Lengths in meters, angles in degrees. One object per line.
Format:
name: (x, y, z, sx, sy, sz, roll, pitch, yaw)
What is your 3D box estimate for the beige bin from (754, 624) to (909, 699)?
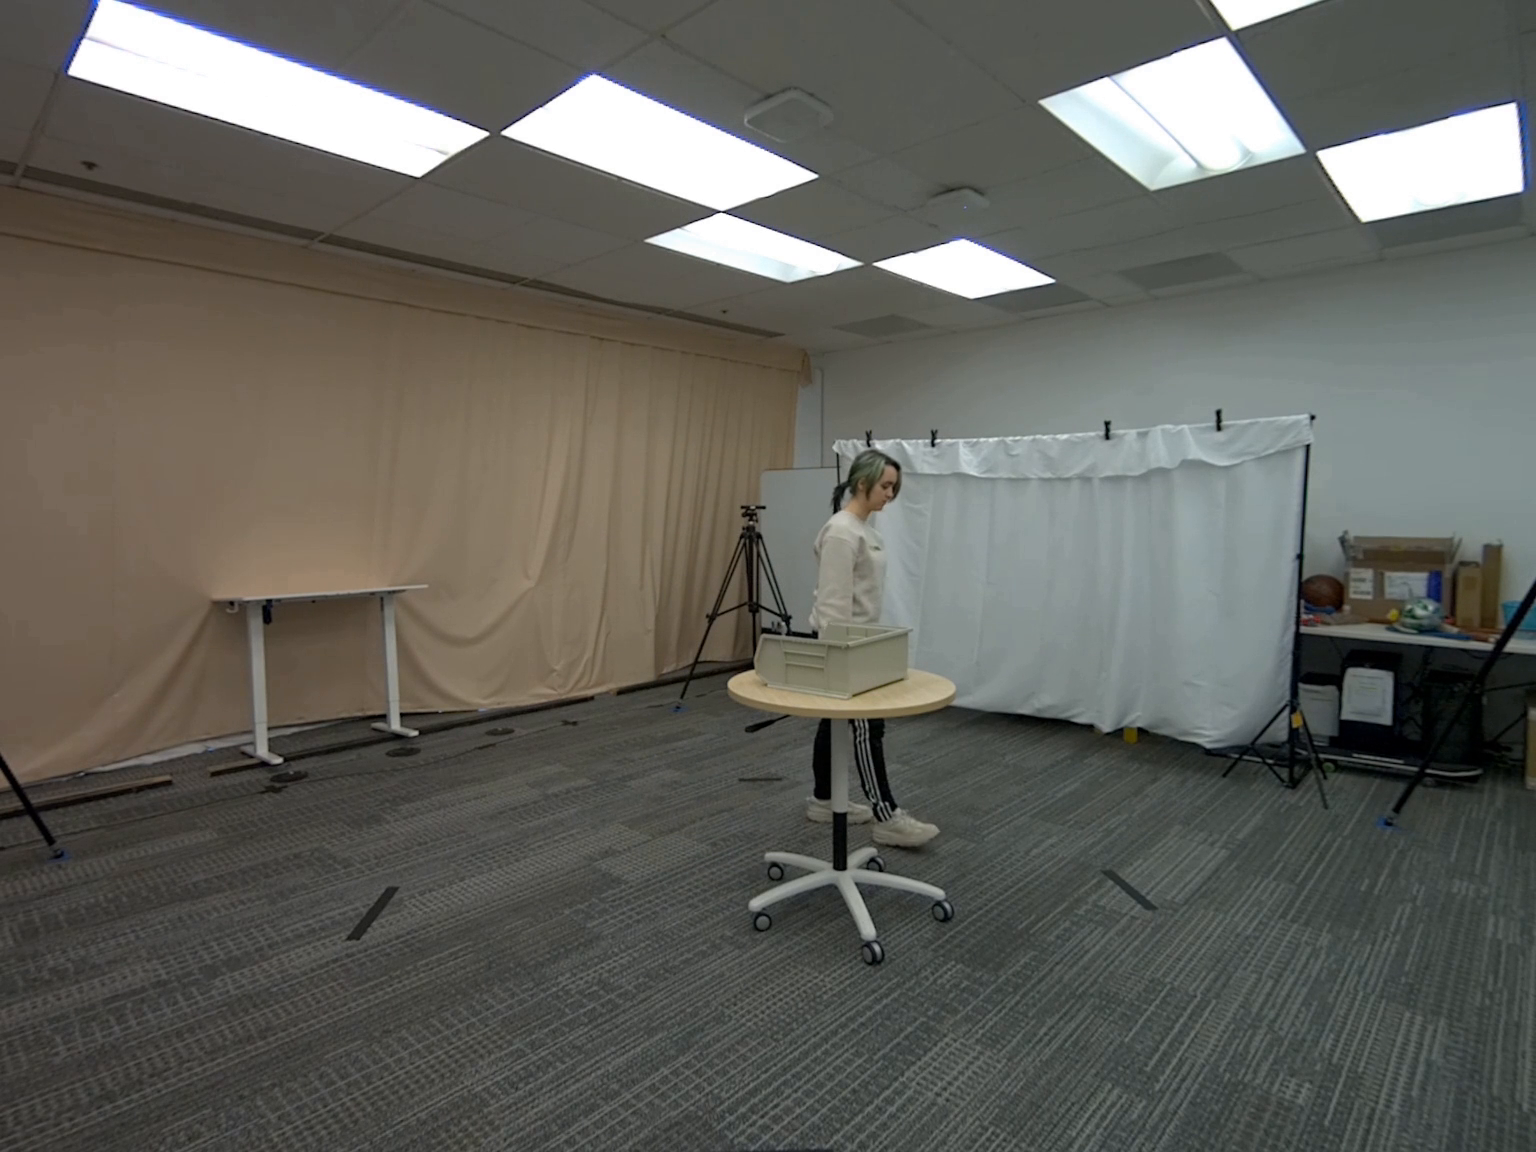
beige bin: (0.225, 0.277, 2.890, 0.390, 0.188, 0.410, 4, 6, 39)
